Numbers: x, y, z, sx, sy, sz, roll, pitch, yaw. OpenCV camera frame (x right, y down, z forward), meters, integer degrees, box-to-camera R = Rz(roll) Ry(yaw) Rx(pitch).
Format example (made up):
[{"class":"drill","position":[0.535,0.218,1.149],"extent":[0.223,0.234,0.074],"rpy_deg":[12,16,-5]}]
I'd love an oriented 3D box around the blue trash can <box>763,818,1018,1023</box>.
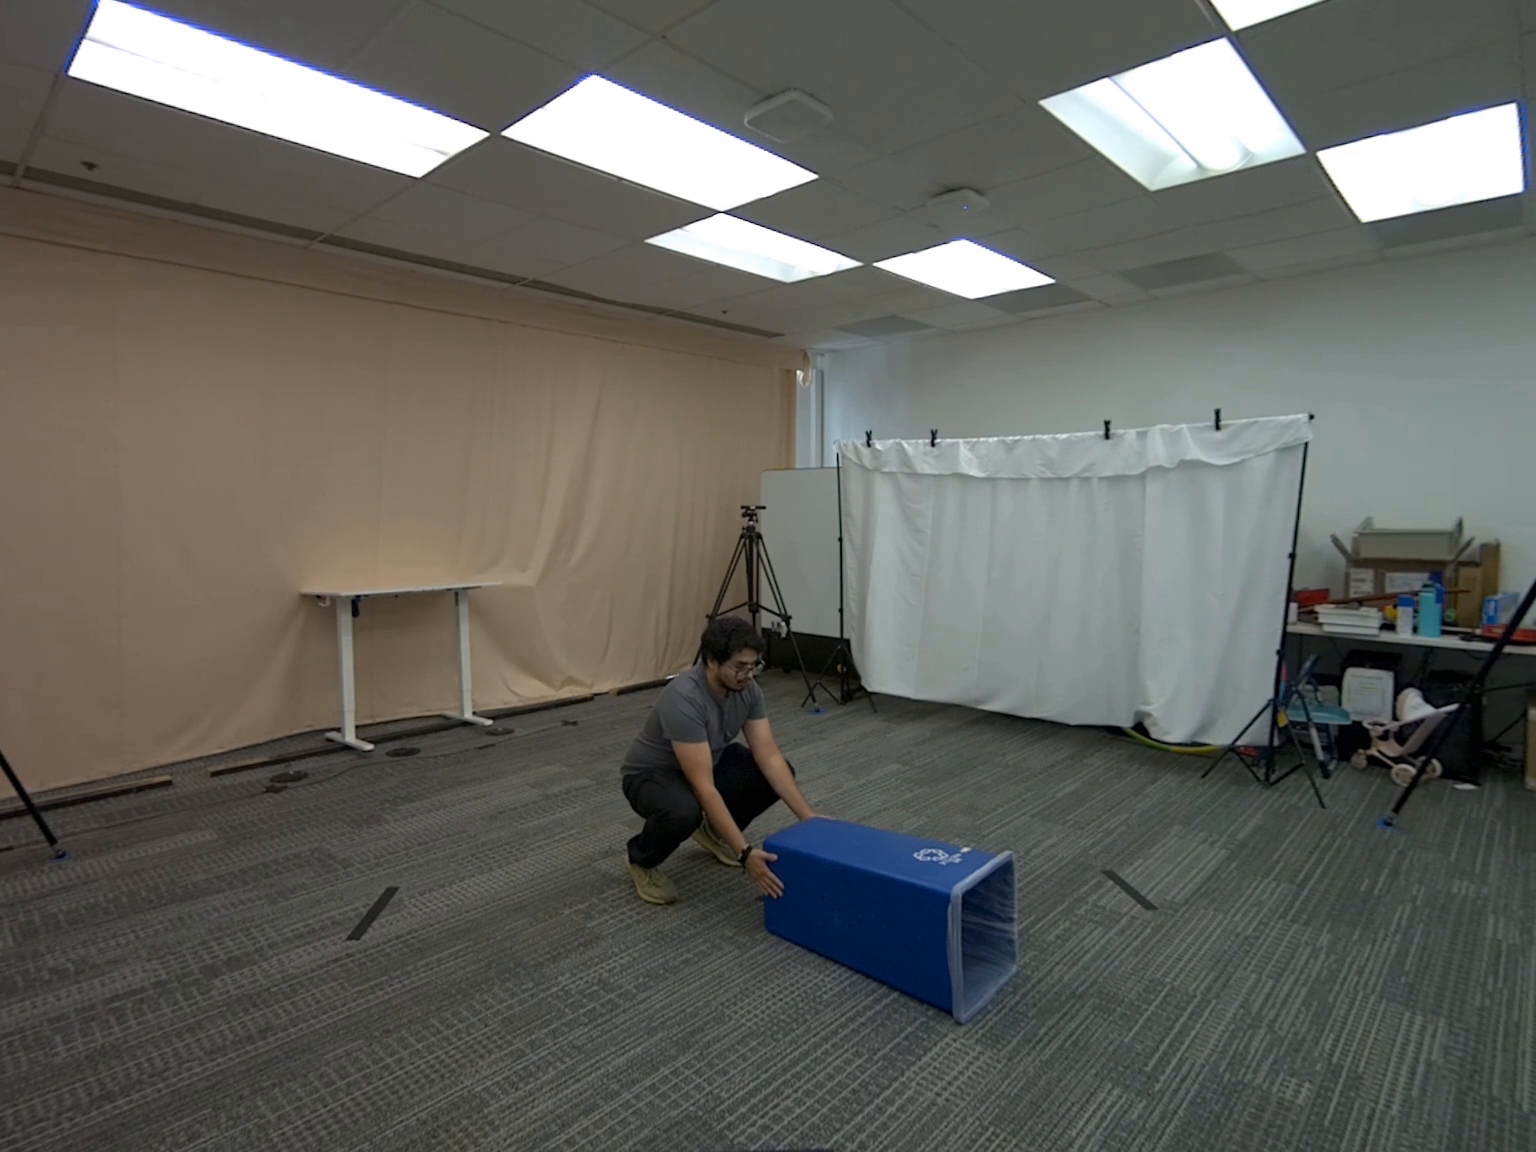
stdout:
[{"class":"blue trash can","position":[0.355,1.008,2.609],"extent":[0.736,0.377,0.363],"rpy_deg":[0,3,41]}]
